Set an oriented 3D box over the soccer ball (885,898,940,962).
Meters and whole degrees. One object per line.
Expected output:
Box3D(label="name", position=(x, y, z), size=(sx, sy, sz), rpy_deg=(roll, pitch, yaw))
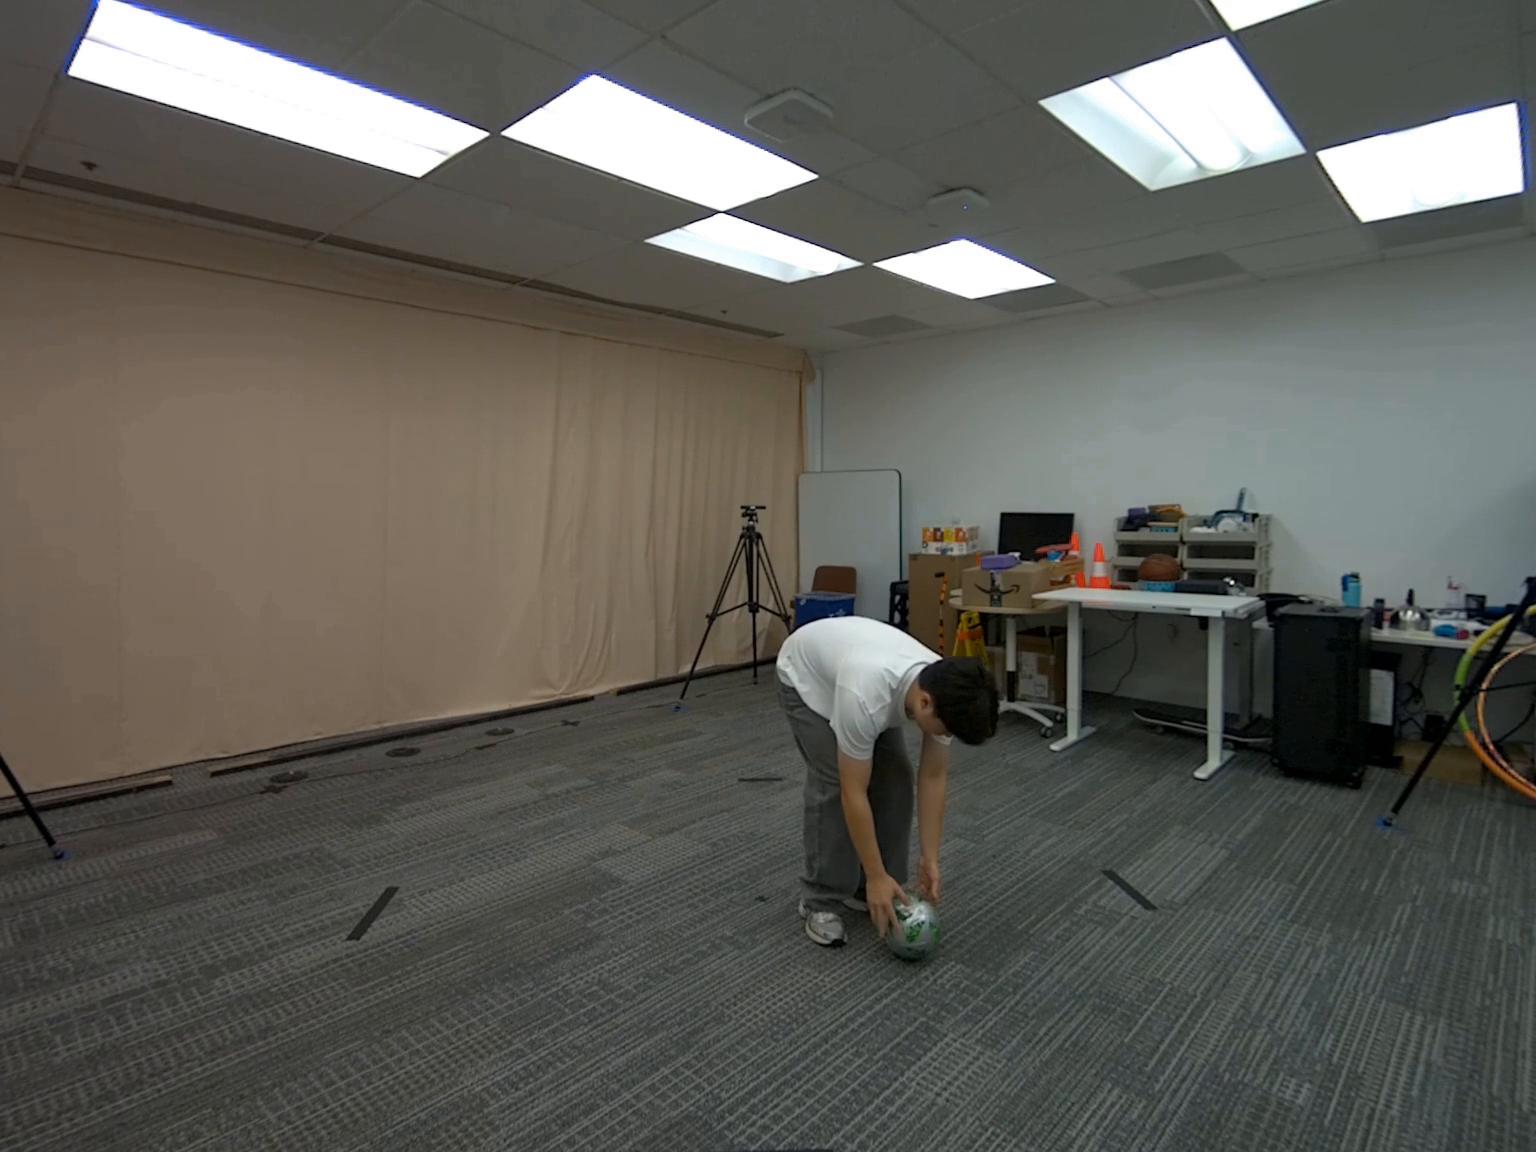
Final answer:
Box3D(label="soccer ball", position=(0.433, 1.071, 2.601), size=(0.187, 0.187, 0.188), rpy_deg=(0, 4, -2))
